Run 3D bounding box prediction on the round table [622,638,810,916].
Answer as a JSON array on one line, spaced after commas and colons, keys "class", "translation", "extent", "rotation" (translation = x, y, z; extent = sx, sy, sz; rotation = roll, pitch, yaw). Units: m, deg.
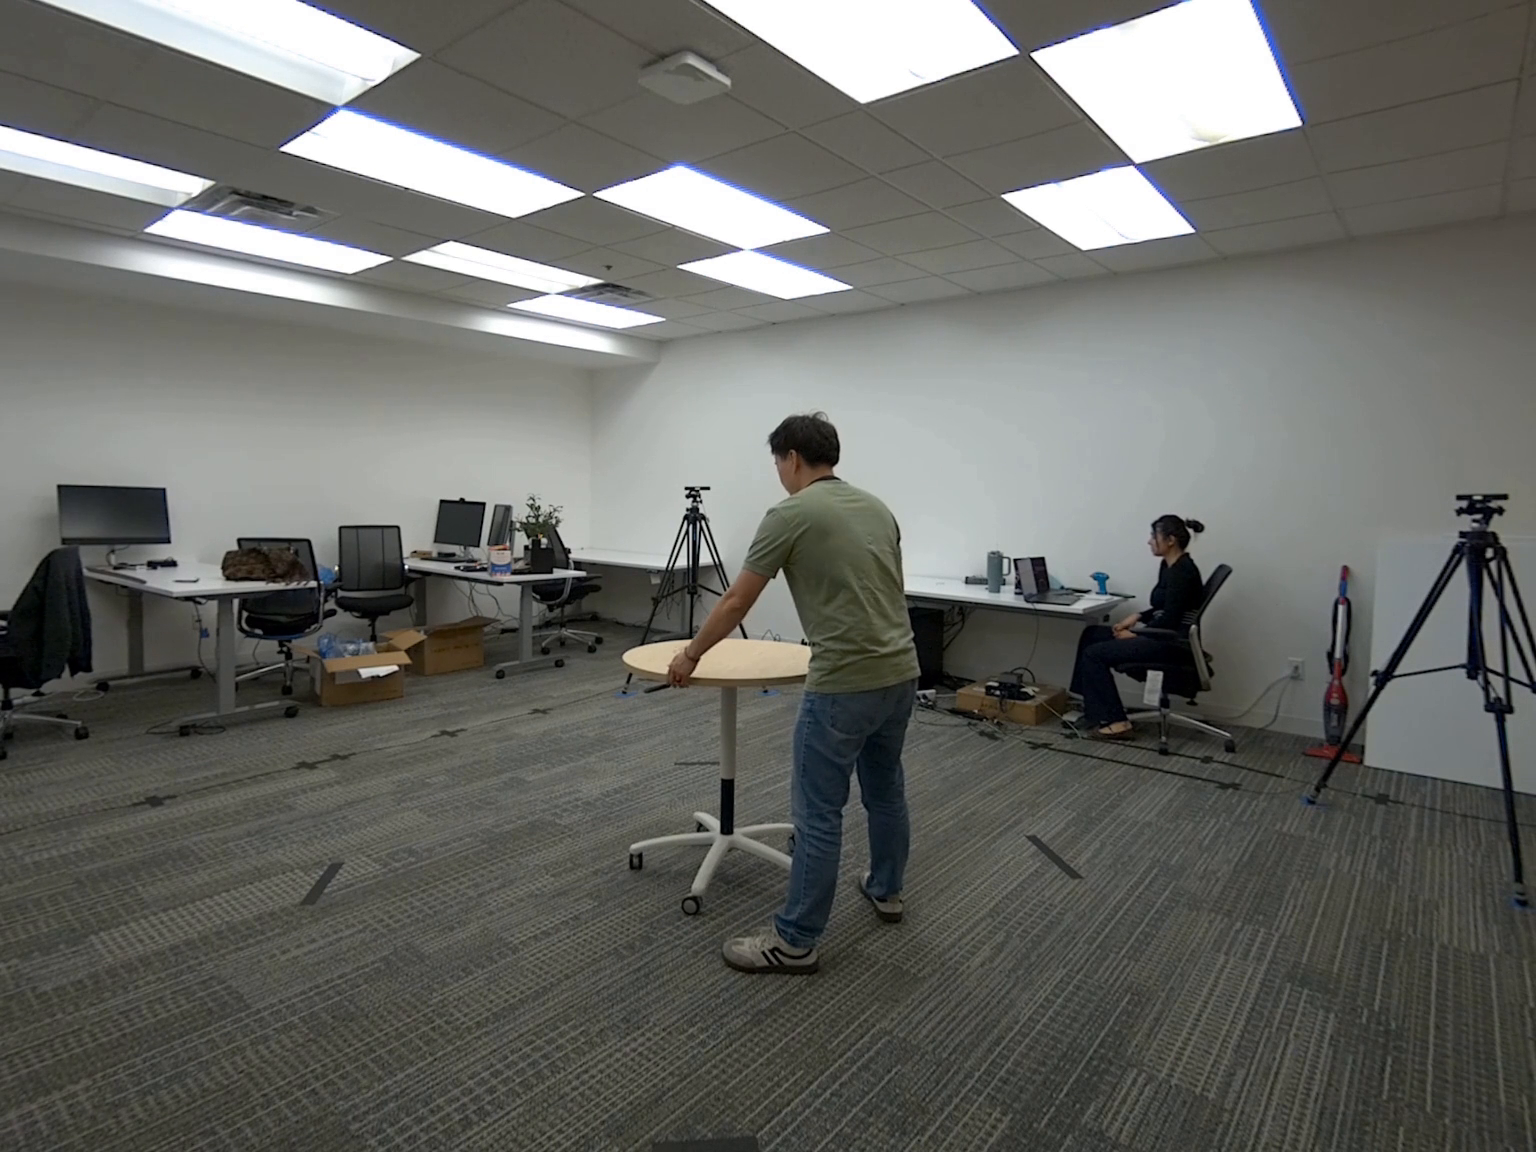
[{"class": "round table", "translation": [-0.160, 0.679, 3.076], "extent": [0.763, 0.791, 0.768], "rotation": [1, 4, -2]}]
